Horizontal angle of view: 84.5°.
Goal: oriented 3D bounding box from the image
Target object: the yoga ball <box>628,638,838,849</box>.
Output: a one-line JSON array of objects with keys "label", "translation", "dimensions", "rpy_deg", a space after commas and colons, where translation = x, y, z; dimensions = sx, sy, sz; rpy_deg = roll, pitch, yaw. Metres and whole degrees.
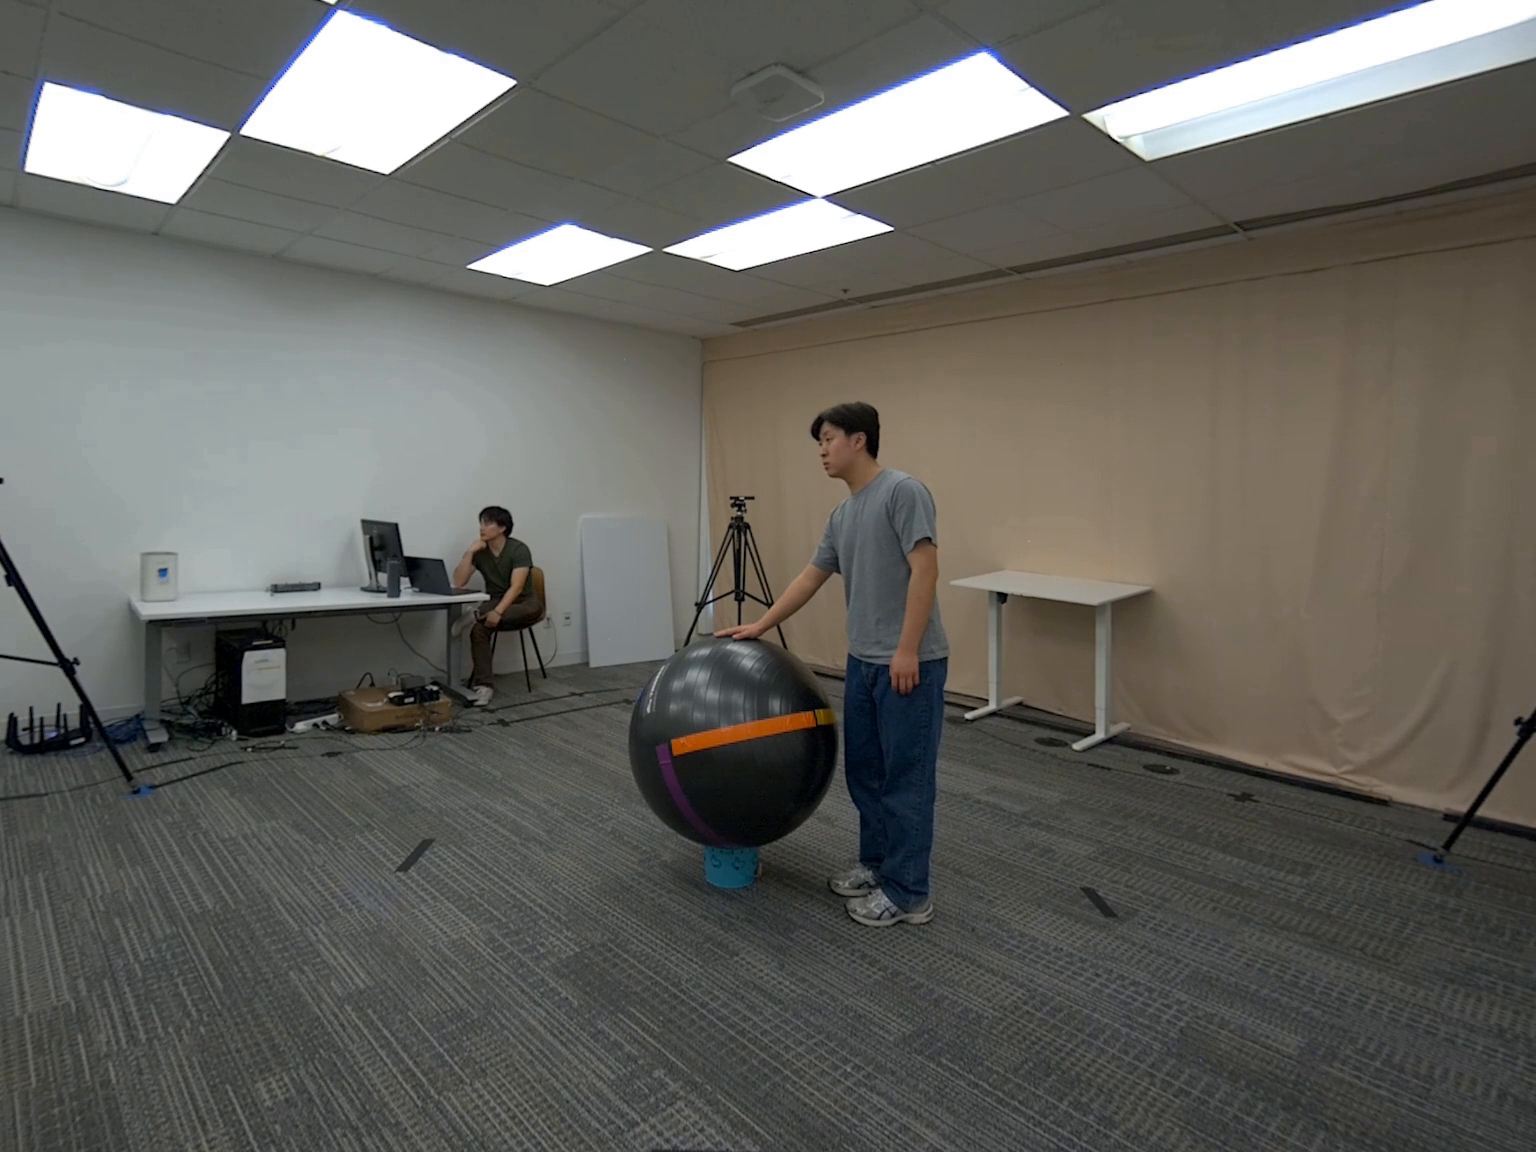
[{"label": "yoga ball", "translation": [-0.129, 0.593, 3.064], "dimensions": [0.757, 0.756, 0.761], "rpy_deg": [1, 4, -1]}]
